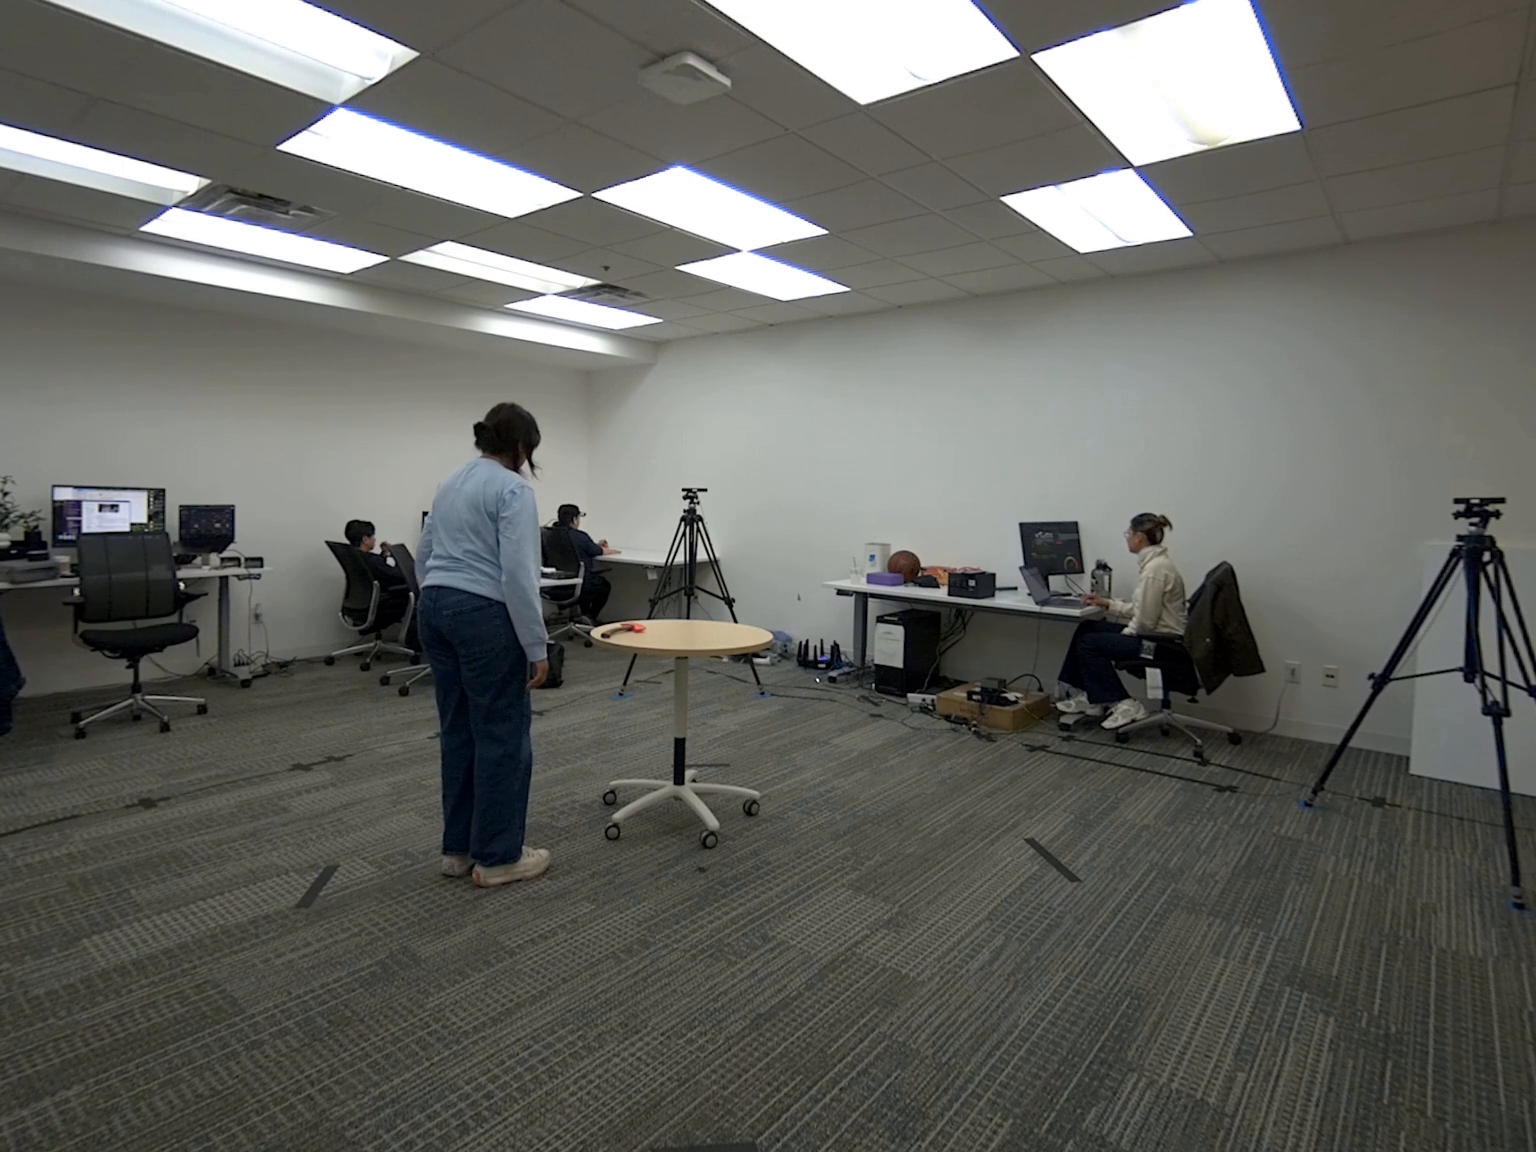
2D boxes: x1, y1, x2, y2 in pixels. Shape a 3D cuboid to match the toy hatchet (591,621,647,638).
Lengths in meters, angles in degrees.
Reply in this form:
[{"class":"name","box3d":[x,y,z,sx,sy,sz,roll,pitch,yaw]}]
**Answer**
[{"class":"toy hatchet","box3d":[-0.602,0.224,3.535,0.132,0.029,0.268,7,8,8]}]
